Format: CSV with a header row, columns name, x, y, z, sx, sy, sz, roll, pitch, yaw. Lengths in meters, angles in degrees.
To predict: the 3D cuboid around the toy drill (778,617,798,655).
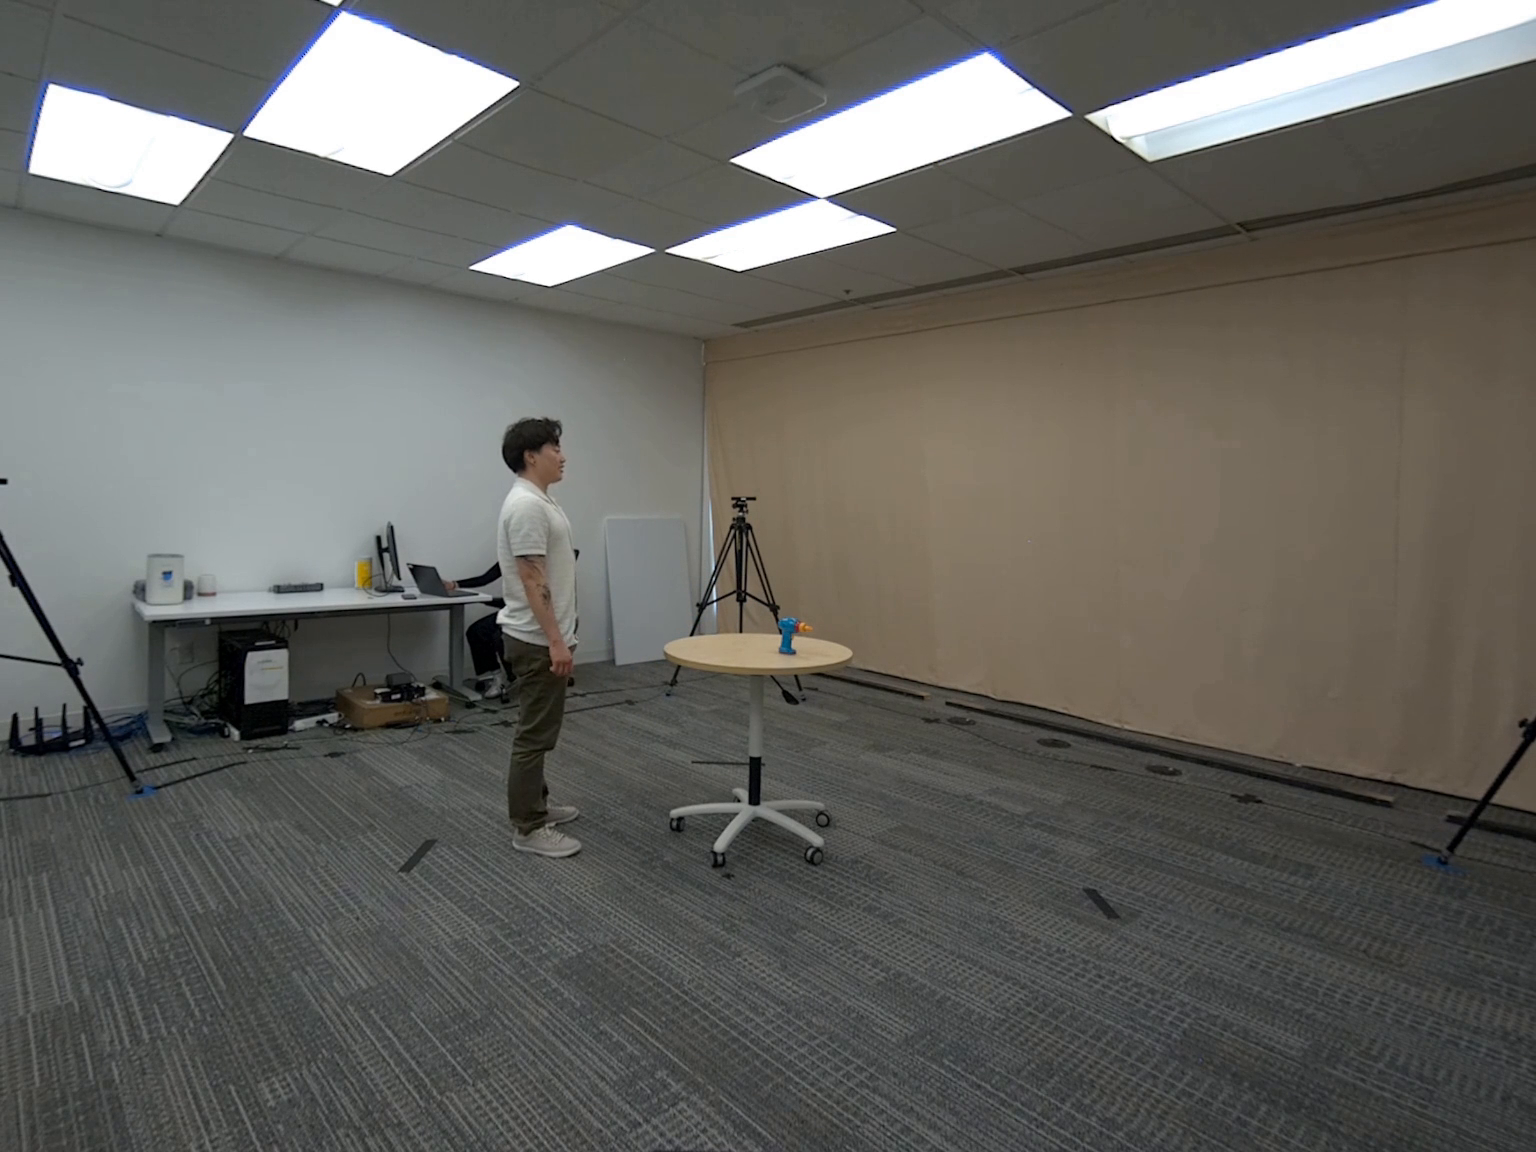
name,x,y,z,sx,sy,sz,roll,pitch,yaw
toy drill,0.098,0.238,3.315,0.174,0.145,0.060,6,8,38
